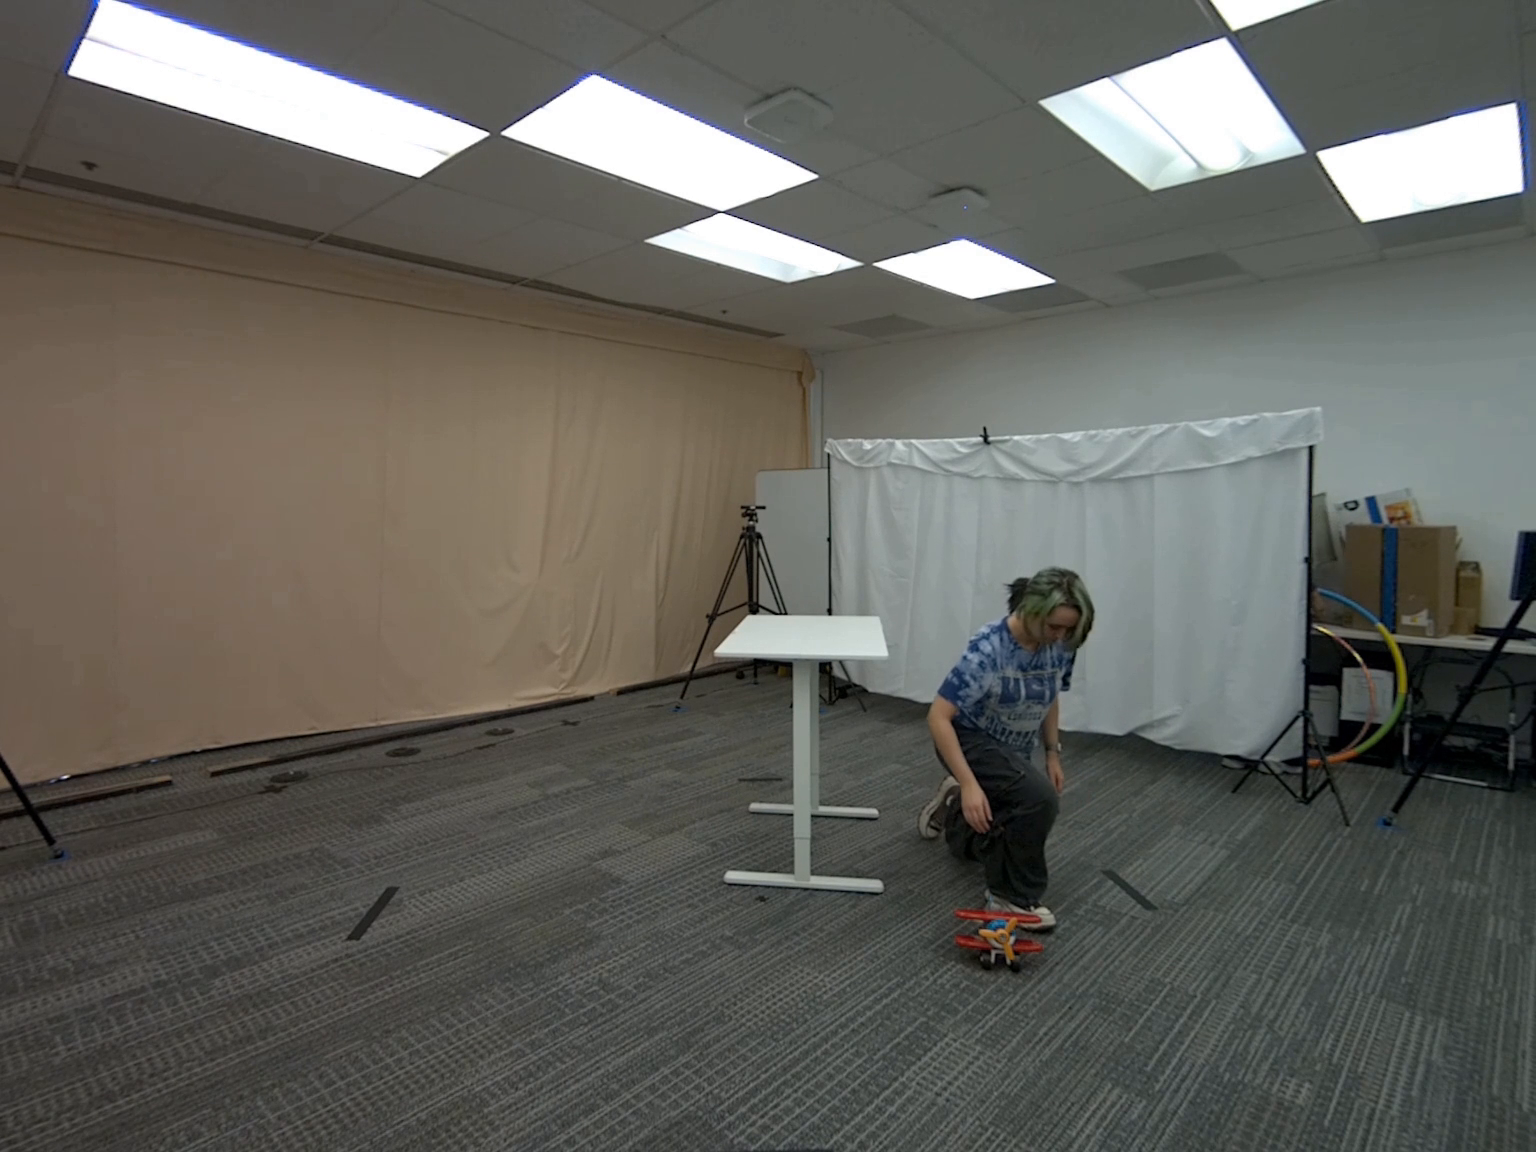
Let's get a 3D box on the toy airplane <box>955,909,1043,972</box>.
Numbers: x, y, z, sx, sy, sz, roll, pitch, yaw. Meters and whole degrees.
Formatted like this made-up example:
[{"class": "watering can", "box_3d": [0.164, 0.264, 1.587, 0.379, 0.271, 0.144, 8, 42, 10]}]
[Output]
[{"class": "toy airplane", "box_3d": [0.694, 1.100, 2.608, 0.246, 0.156, 0.265, -2, 5, -21]}]
